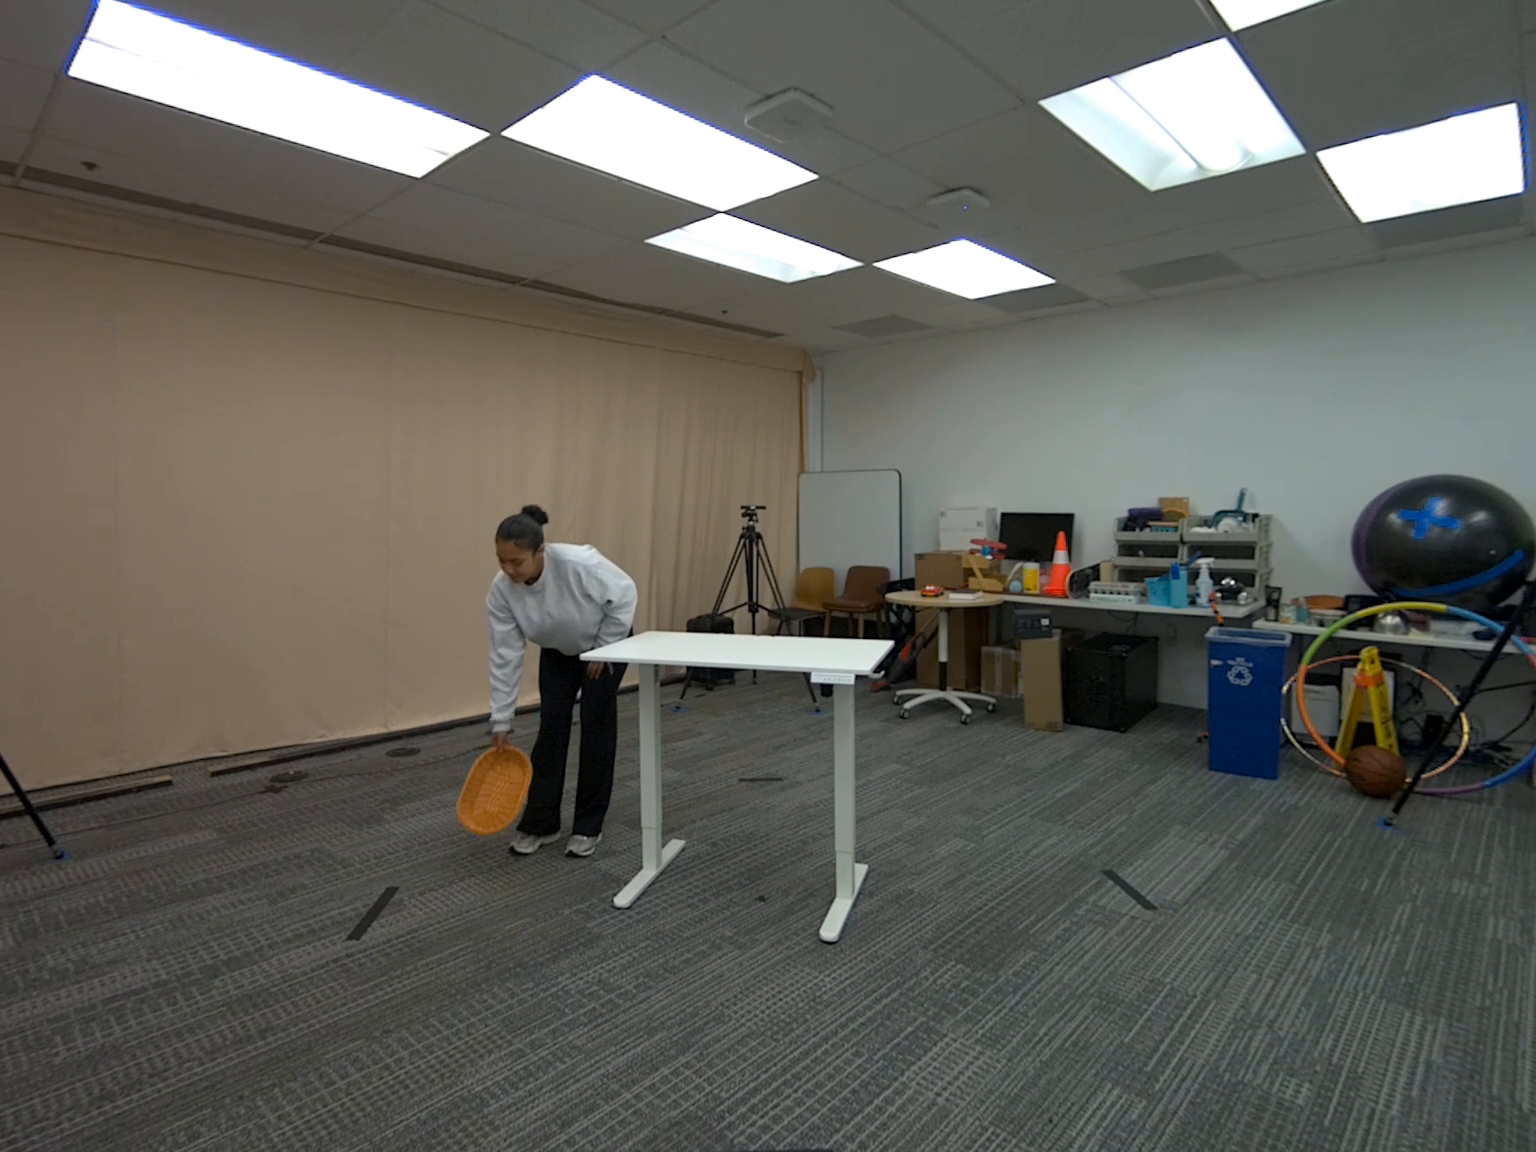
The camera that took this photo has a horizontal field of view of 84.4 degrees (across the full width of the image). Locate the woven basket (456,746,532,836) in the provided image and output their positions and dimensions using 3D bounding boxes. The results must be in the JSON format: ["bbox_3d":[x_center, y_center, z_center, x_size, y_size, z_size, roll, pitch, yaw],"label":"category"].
[{"bbox_3d":[-1.017,0.814,3.183,0.256,0.352,0.072,11,-35,12],"label":"woven basket"}]
